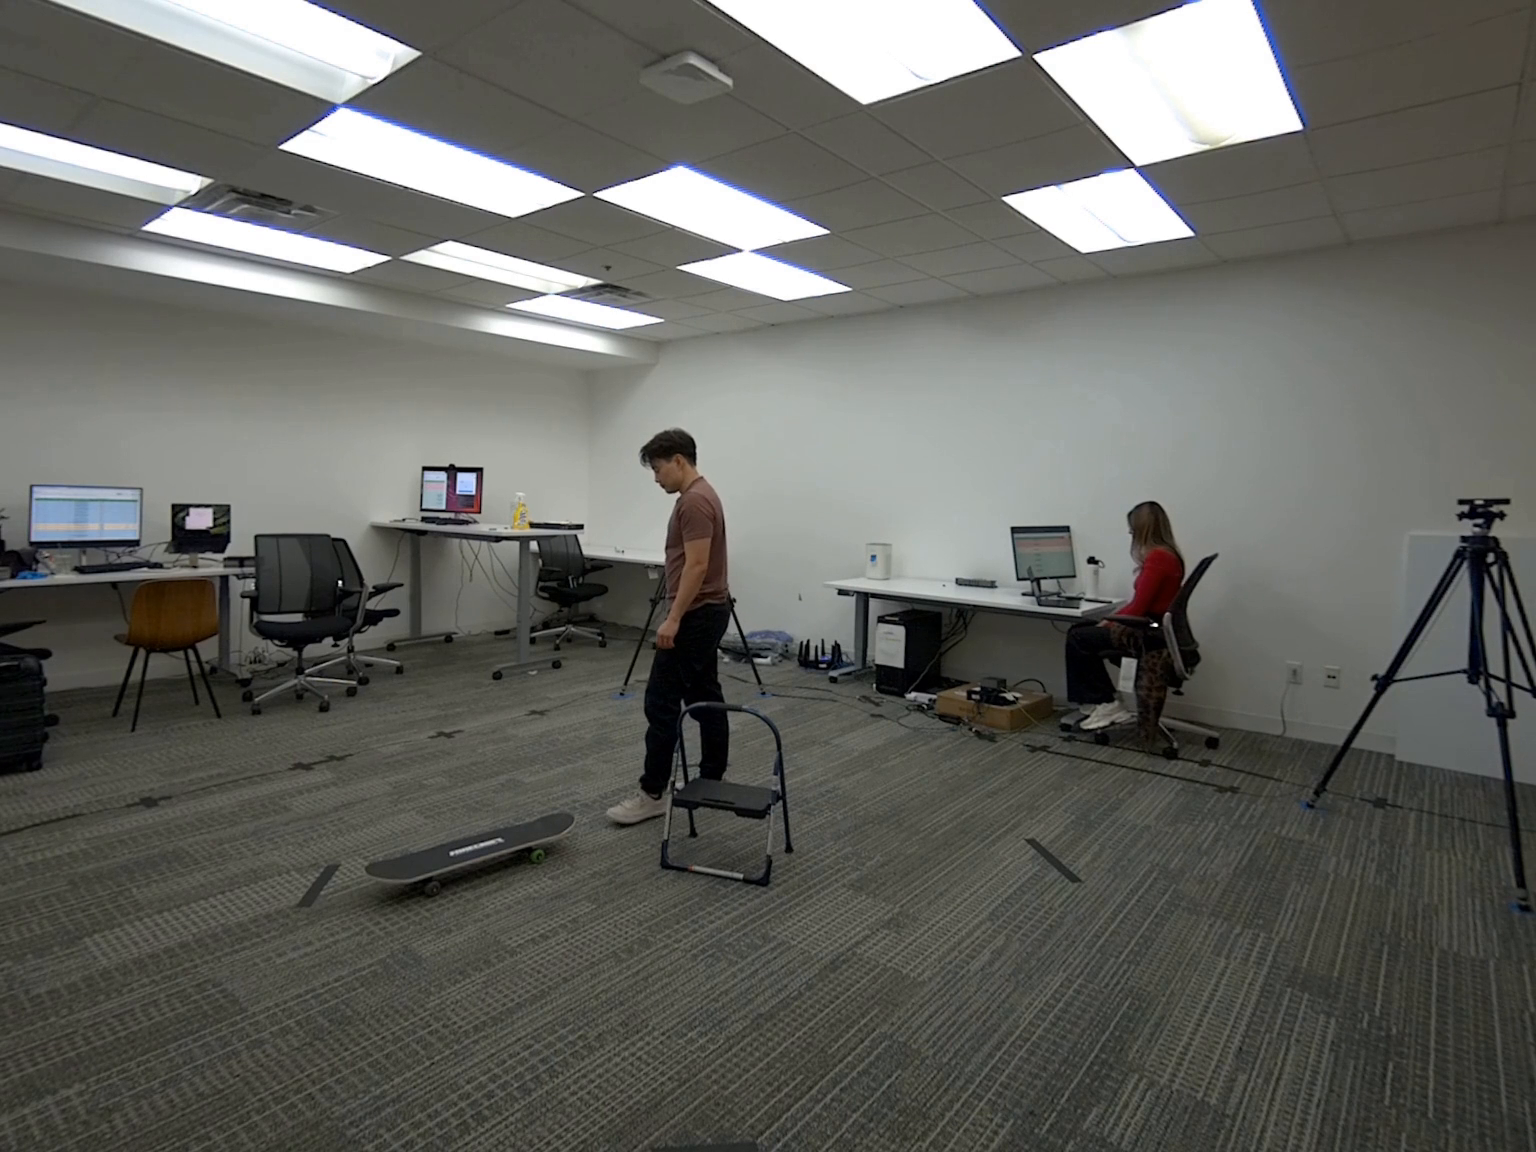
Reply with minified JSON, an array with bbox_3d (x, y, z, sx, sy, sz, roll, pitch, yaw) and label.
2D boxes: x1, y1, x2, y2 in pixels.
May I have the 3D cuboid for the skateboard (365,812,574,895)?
[{"bbox_3d":[-1.058,1.008,3.068,0.762,0.110,0.200,-5,7,-42],"label":"skateboard"}]
